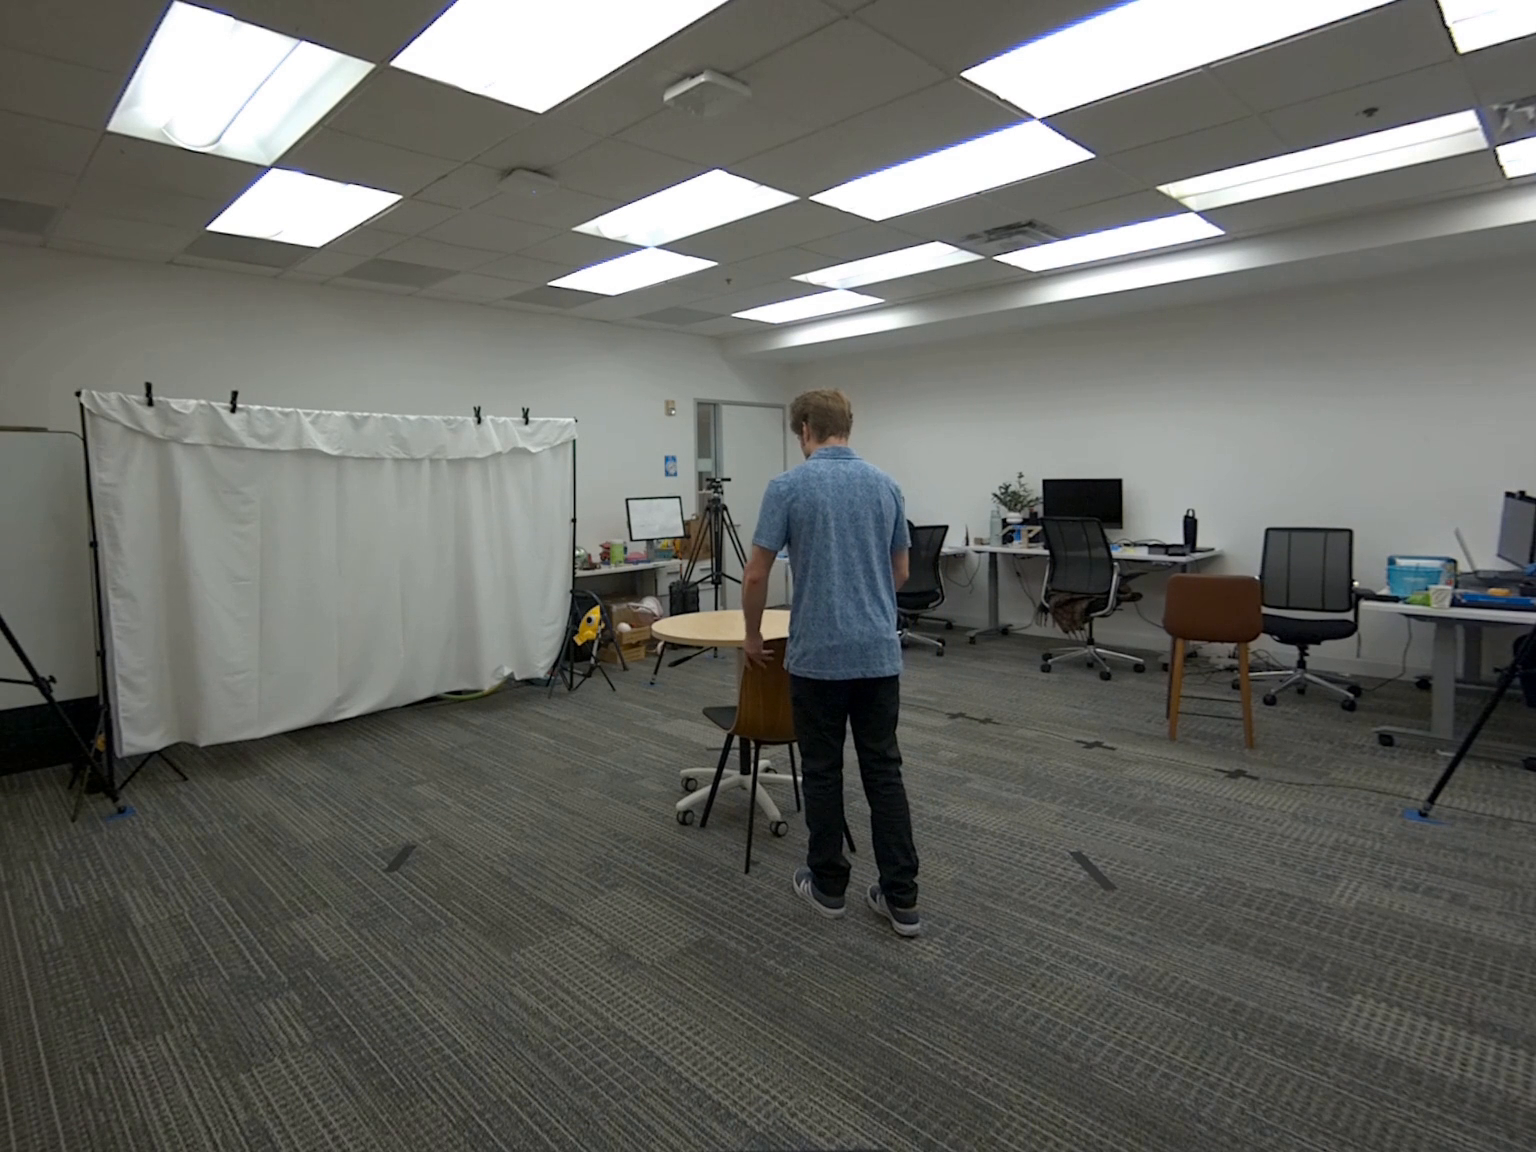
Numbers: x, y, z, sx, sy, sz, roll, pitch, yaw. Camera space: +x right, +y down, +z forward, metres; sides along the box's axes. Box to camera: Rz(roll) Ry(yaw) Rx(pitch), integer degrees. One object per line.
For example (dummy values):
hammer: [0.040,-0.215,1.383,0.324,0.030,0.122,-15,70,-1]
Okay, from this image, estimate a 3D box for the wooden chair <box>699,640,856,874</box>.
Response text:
wooden chair: [0.021,0.594,3.275,0.468,0.871,0.537,-2,8,-24]
